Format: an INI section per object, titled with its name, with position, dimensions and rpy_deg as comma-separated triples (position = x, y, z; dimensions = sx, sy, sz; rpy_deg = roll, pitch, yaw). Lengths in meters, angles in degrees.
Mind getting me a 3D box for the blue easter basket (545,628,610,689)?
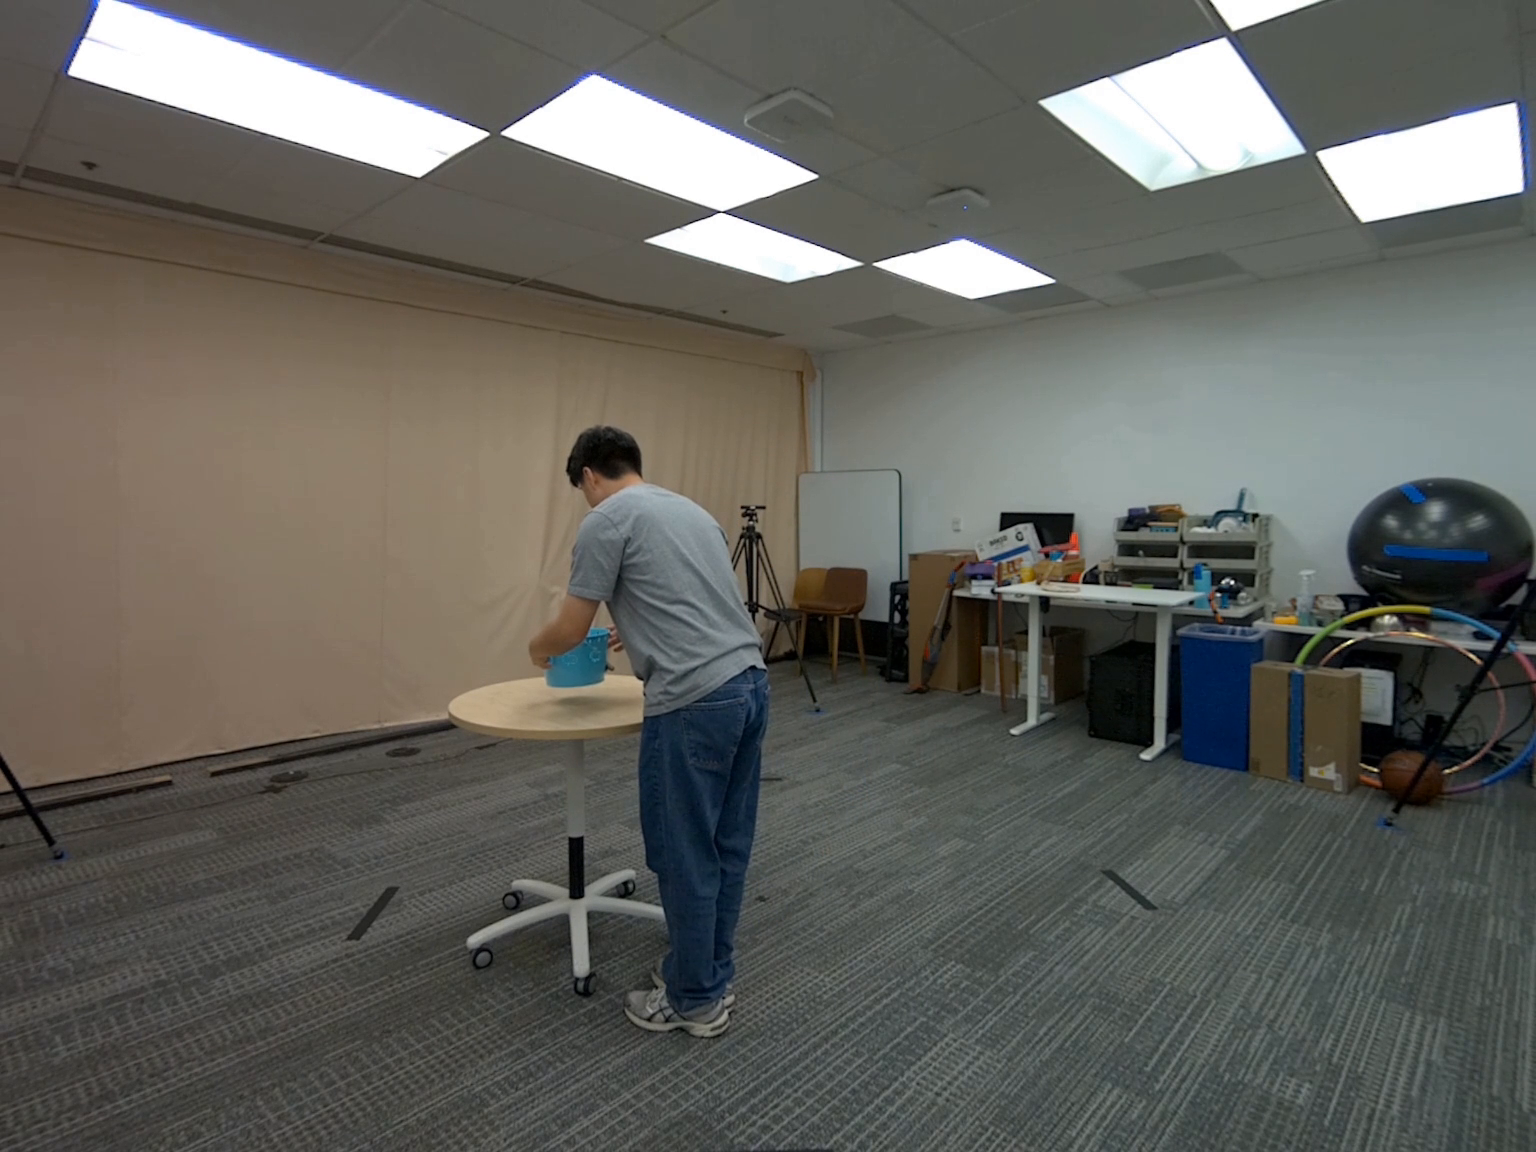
[blue easter basket]
position = -0.606, 0.259, 2.621
dimensions = 0.243, 0.155, 0.245
rpy_deg = -3, 6, -2
